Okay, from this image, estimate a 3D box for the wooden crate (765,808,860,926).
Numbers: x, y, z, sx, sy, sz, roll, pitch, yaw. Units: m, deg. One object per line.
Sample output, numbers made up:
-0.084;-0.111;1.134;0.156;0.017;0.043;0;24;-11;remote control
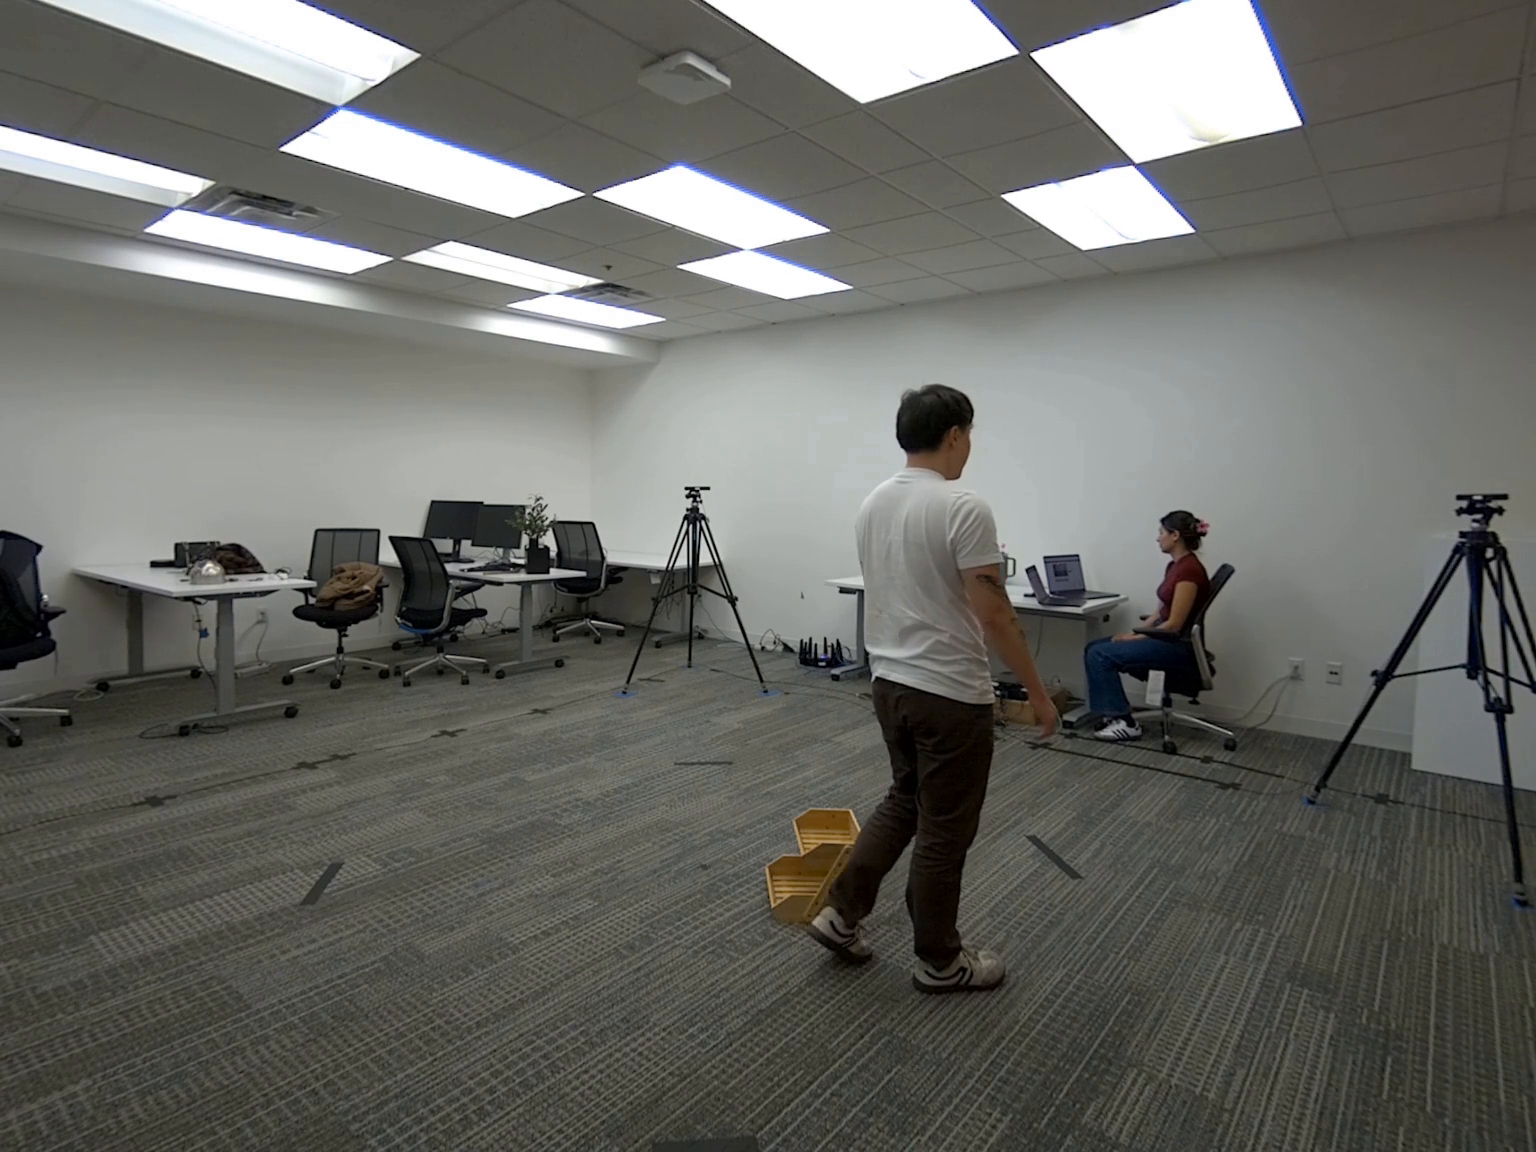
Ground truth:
0.142;0.958;2.866;0.301;0.272;0.326;1;4;-3;wooden crate
